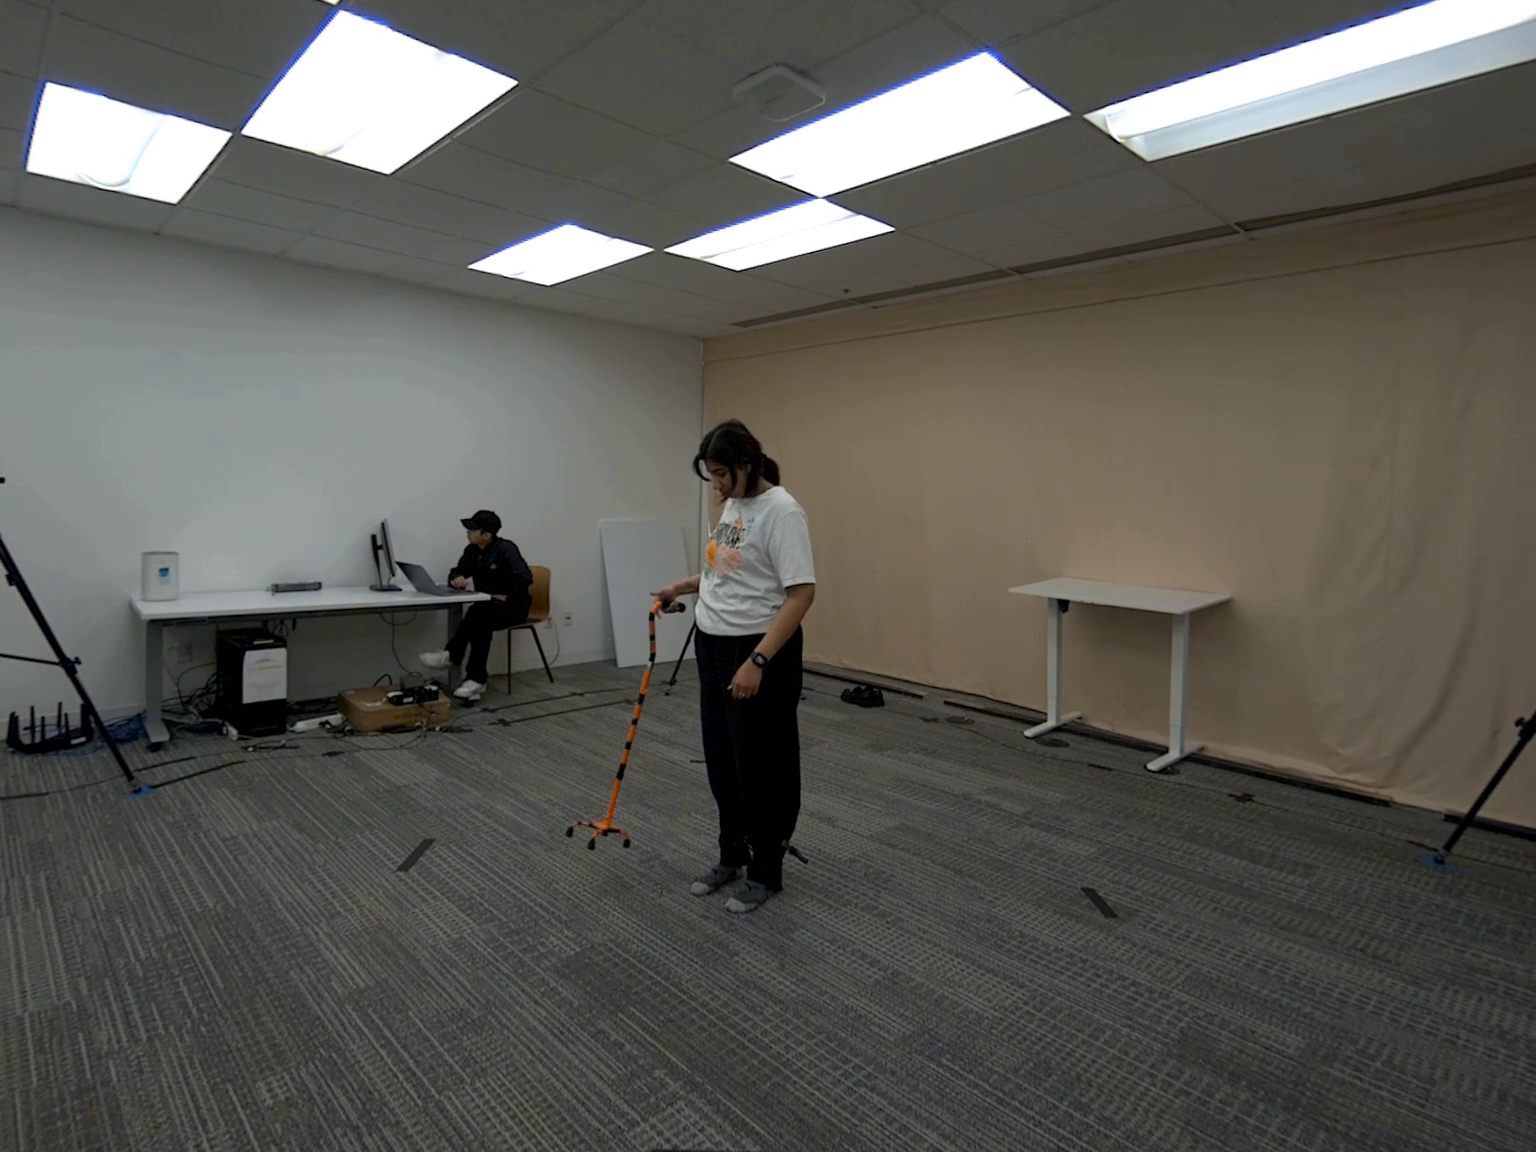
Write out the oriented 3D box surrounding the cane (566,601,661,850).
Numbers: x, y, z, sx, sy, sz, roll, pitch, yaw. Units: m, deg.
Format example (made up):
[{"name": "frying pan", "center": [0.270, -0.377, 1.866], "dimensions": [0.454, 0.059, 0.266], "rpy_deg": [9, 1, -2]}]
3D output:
[{"name": "cane", "center": [-0.497, 0.531, 3.095], "dimensions": [0.155, 0.910, 0.200], "rpy_deg": [9, -6, 38]}]
